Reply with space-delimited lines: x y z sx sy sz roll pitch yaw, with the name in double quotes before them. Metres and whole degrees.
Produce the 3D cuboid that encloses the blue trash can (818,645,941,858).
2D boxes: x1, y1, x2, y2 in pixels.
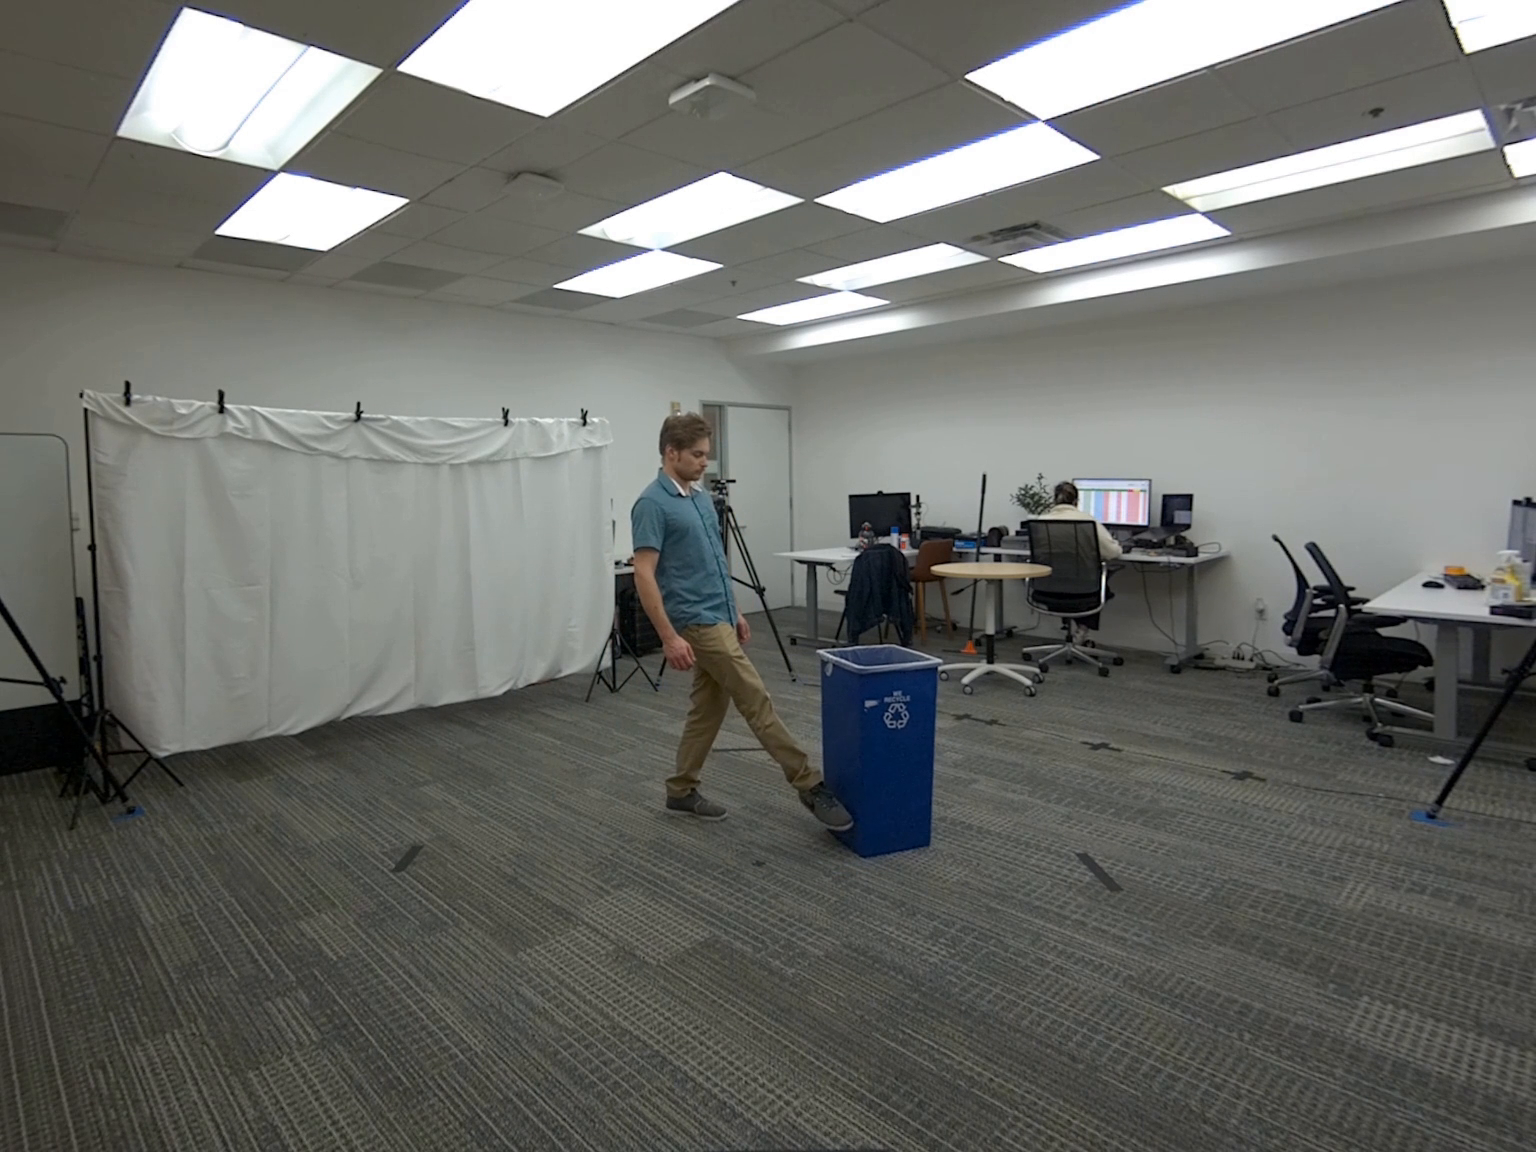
"blue trash can" 0.423 0.657 3.305 0.367 0.711 0.387 -2 4 -22
